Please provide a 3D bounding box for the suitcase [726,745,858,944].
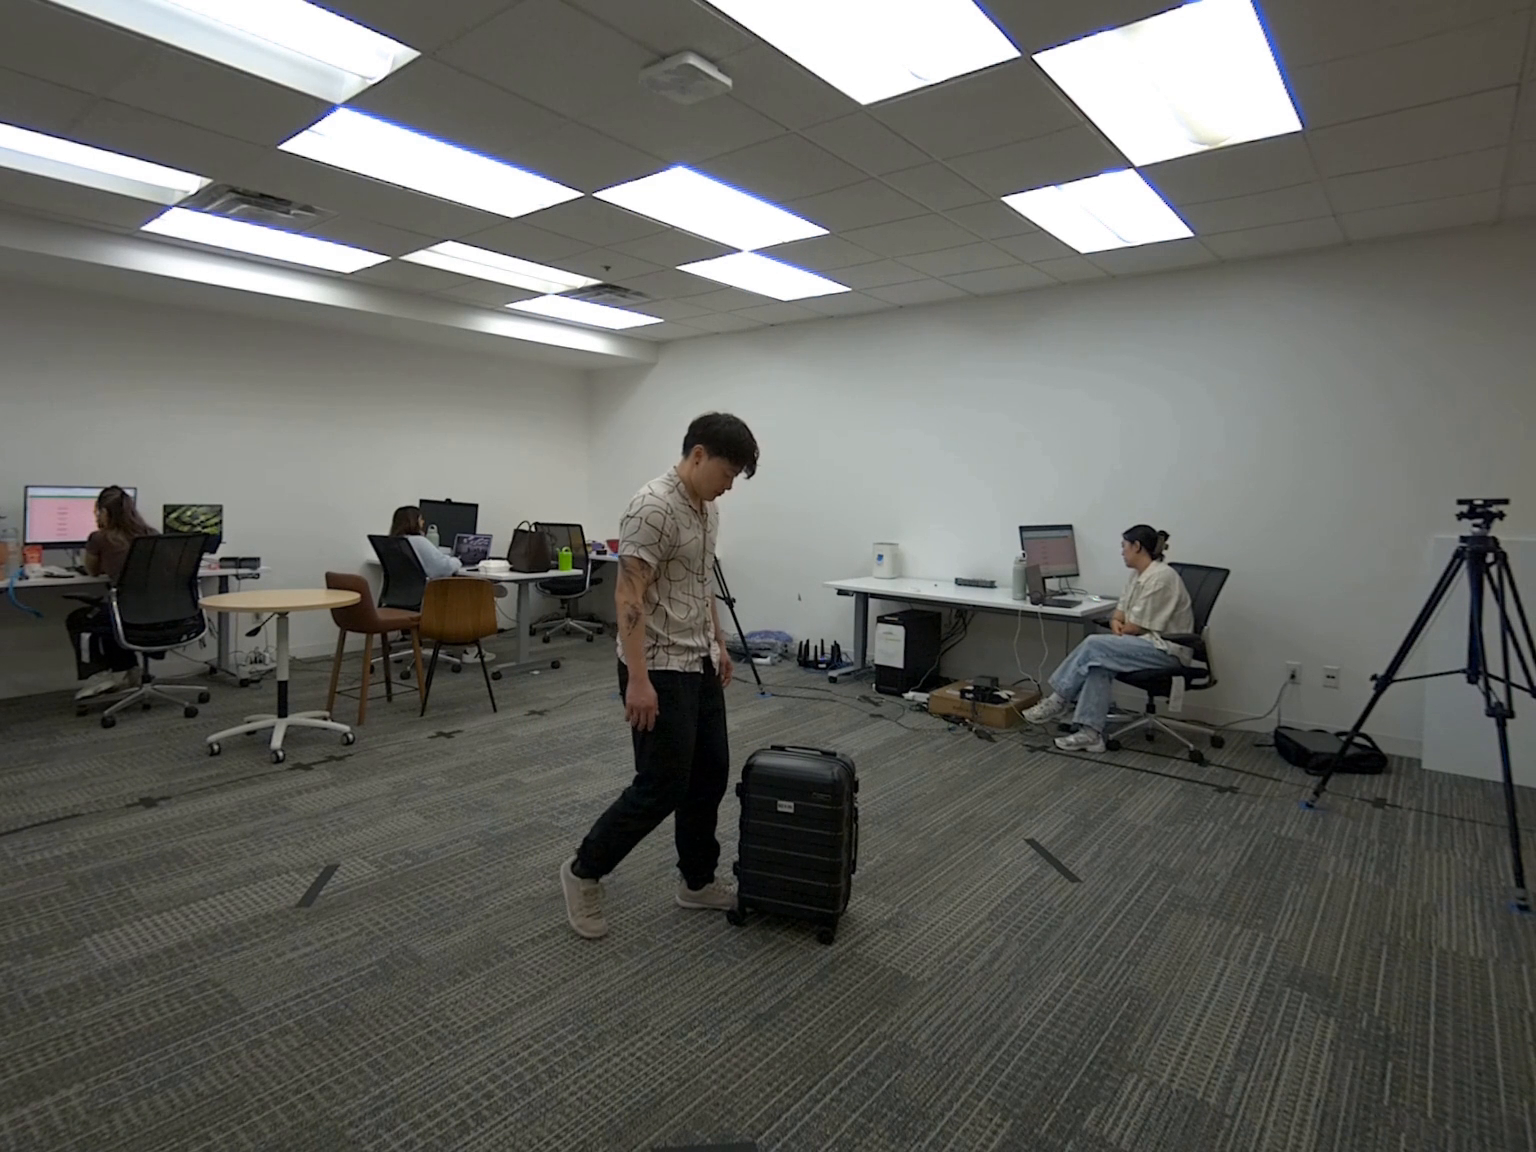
[{"bbox_3d":[0.089,0.839,2.747,0.383,0.547,0.244,4,4,18],"label":"suitcase"}]
